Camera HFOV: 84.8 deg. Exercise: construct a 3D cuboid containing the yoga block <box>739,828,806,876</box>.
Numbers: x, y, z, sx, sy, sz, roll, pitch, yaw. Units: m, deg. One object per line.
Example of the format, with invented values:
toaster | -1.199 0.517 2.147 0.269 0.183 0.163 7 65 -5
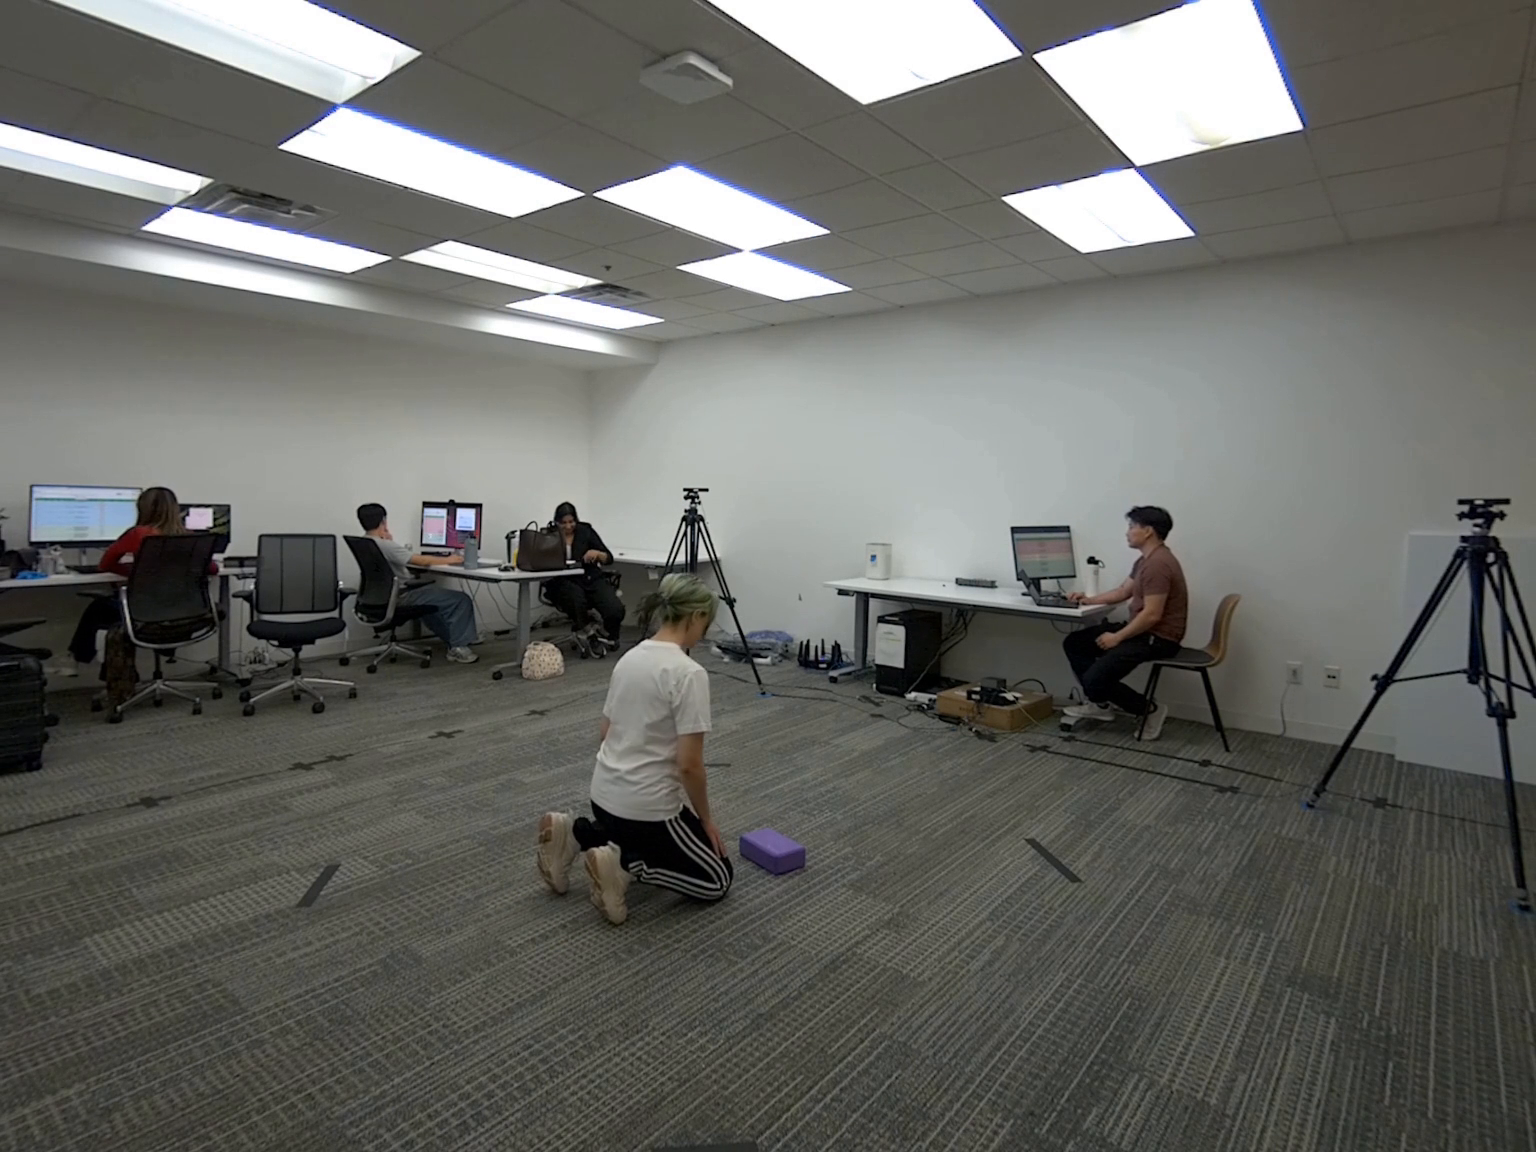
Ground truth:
yoga block | 0.006 1.023 3.191 0.144 0.076 0.237 -1 4 -37
